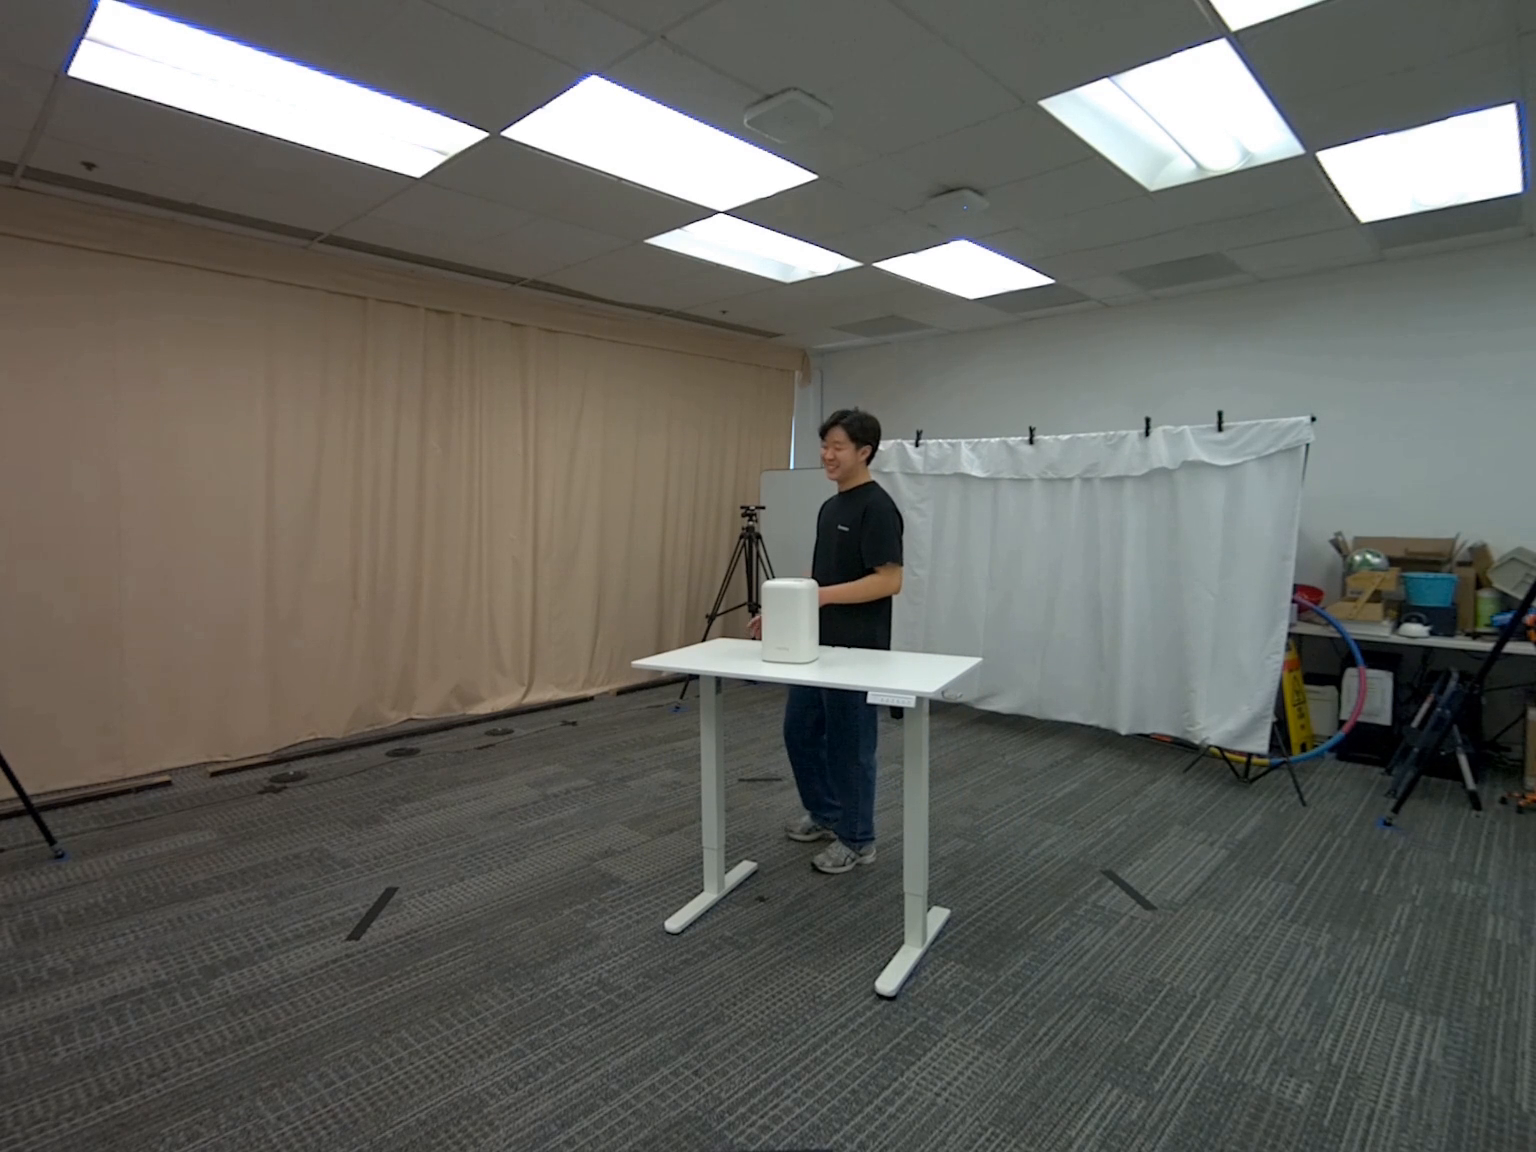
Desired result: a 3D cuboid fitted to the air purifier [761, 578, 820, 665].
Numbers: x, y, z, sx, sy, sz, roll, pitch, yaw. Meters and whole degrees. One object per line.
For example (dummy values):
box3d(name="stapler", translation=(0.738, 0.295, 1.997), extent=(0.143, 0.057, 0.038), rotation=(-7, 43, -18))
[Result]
box3d(name="air purifier", translation=(0.073, 0.145, 2.785), extent=(0.175, 0.265, 0.168), rotation=(2, 3, 23))
